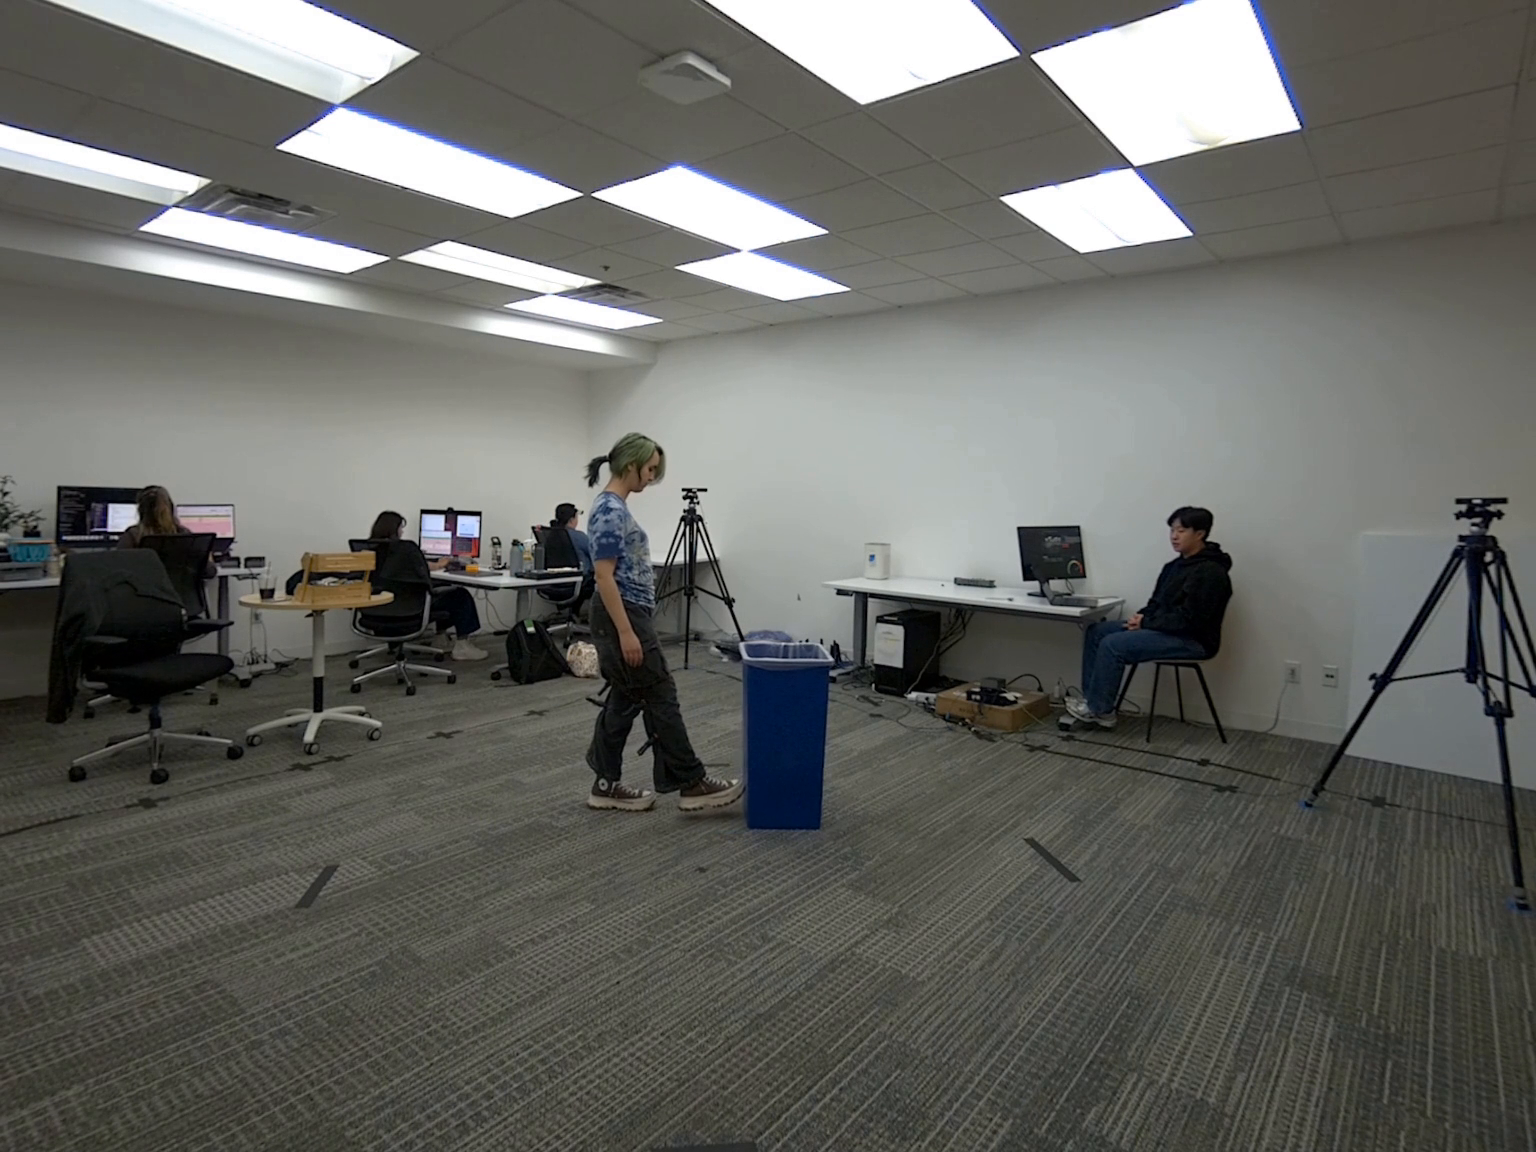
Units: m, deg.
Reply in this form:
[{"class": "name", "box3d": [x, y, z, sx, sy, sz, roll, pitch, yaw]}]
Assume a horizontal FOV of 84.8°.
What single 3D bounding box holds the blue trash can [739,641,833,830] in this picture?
[{"class": "blue trash can", "box3d": [0.054, 0.671, 3.619, 0.377, 0.711, 0.377, 1, 3, -4]}]
